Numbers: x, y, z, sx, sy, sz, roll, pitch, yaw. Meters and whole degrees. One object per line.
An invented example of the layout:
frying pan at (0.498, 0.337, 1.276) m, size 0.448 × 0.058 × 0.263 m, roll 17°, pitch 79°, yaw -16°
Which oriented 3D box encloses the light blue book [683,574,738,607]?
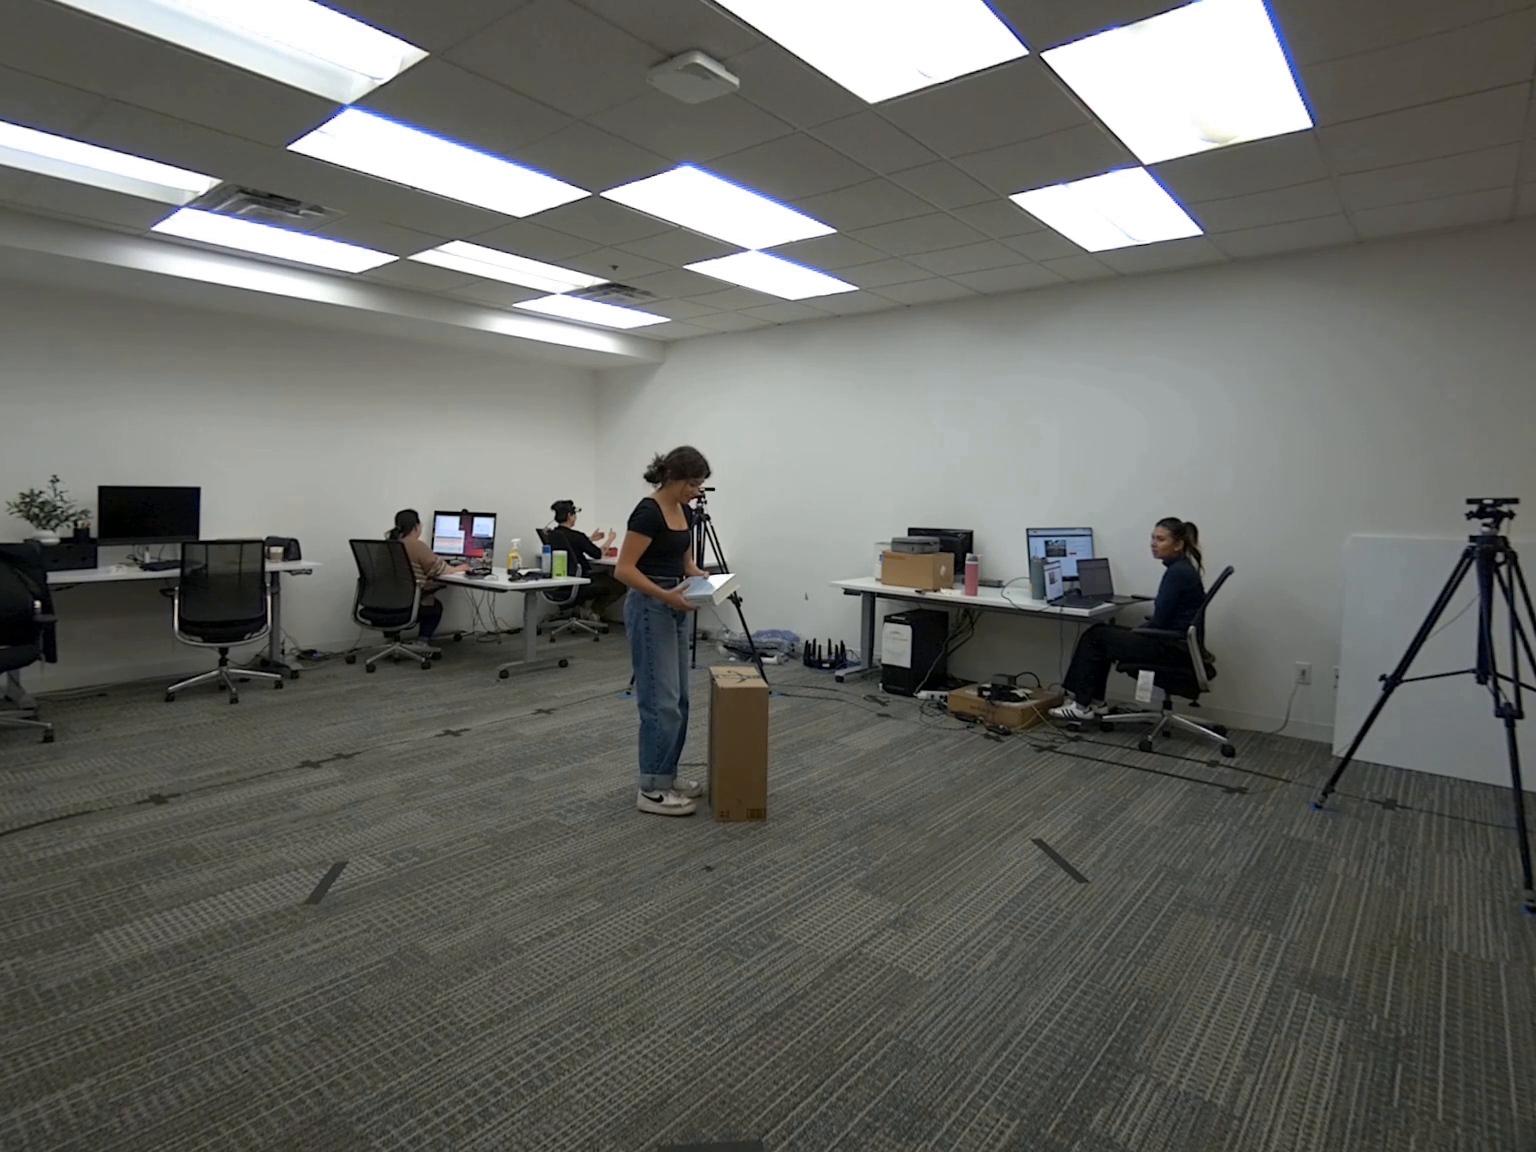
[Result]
light blue book at (-0.284, 0.060, 3.587) m, size 0.268 × 0.058 × 0.190 m, roll -5°, pitch 23°, yaw 37°
